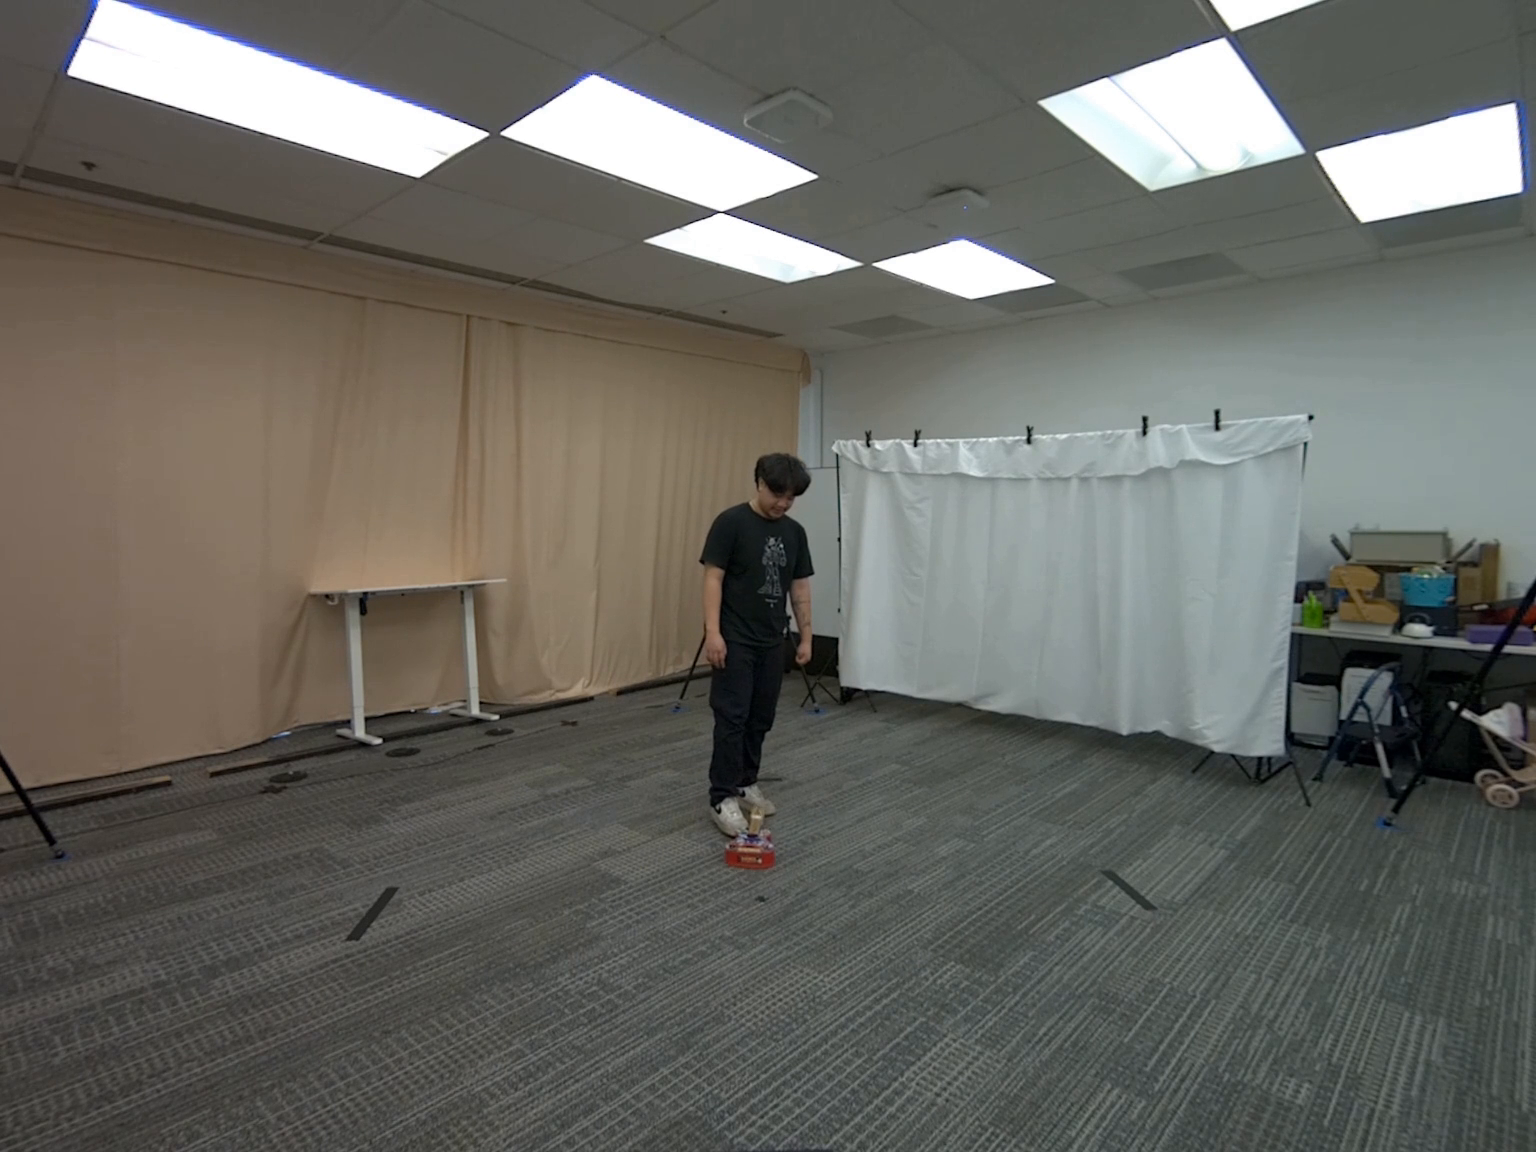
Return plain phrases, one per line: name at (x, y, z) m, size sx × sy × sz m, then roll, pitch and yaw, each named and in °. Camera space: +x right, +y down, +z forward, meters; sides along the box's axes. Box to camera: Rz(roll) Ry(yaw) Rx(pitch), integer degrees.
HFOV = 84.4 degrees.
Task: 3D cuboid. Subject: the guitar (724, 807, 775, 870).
guitar at (-0.033, 1.065, 3.466) m, size 0.196 × 0.070 × 0.491 m, roll 0°, pitch 5°, yaw 13°
